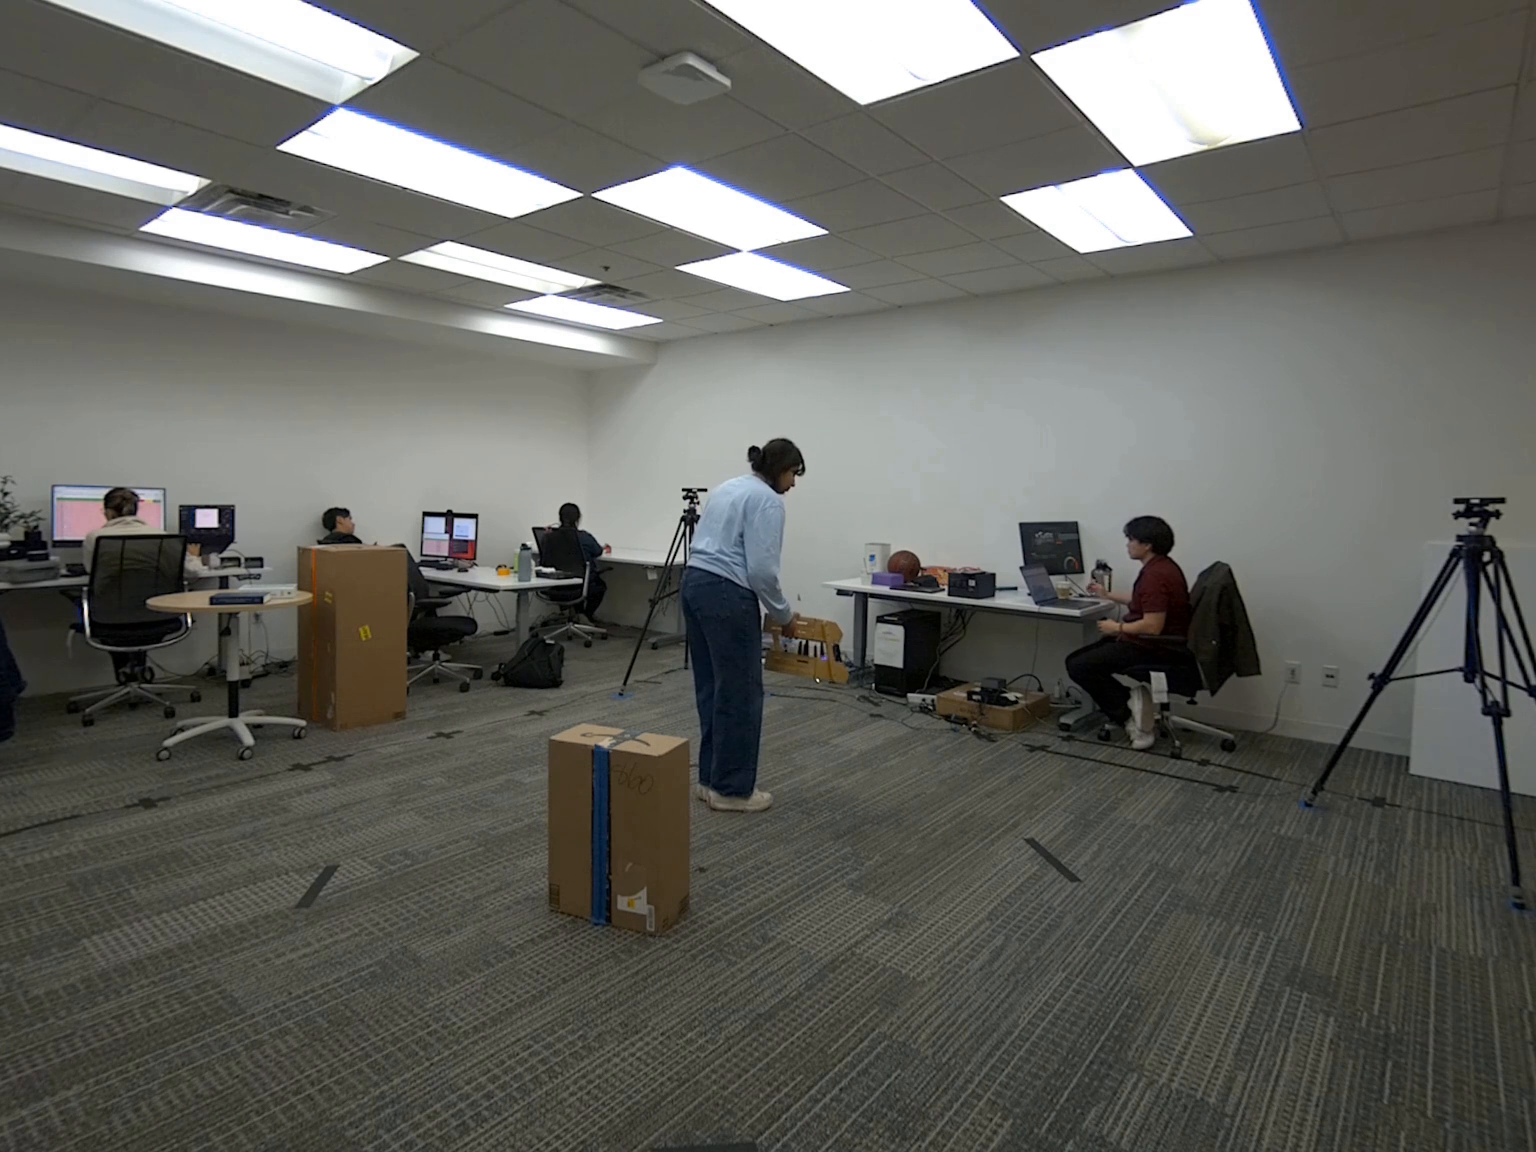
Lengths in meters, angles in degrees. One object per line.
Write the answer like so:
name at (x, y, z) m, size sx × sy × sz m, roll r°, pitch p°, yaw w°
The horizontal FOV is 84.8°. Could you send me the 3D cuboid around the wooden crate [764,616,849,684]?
wooden crate at (0.167, 0.326, 3.913) m, size 0.335 × 0.275 × 0.290 m, roll 4°, pitch -8°, yaw 43°
